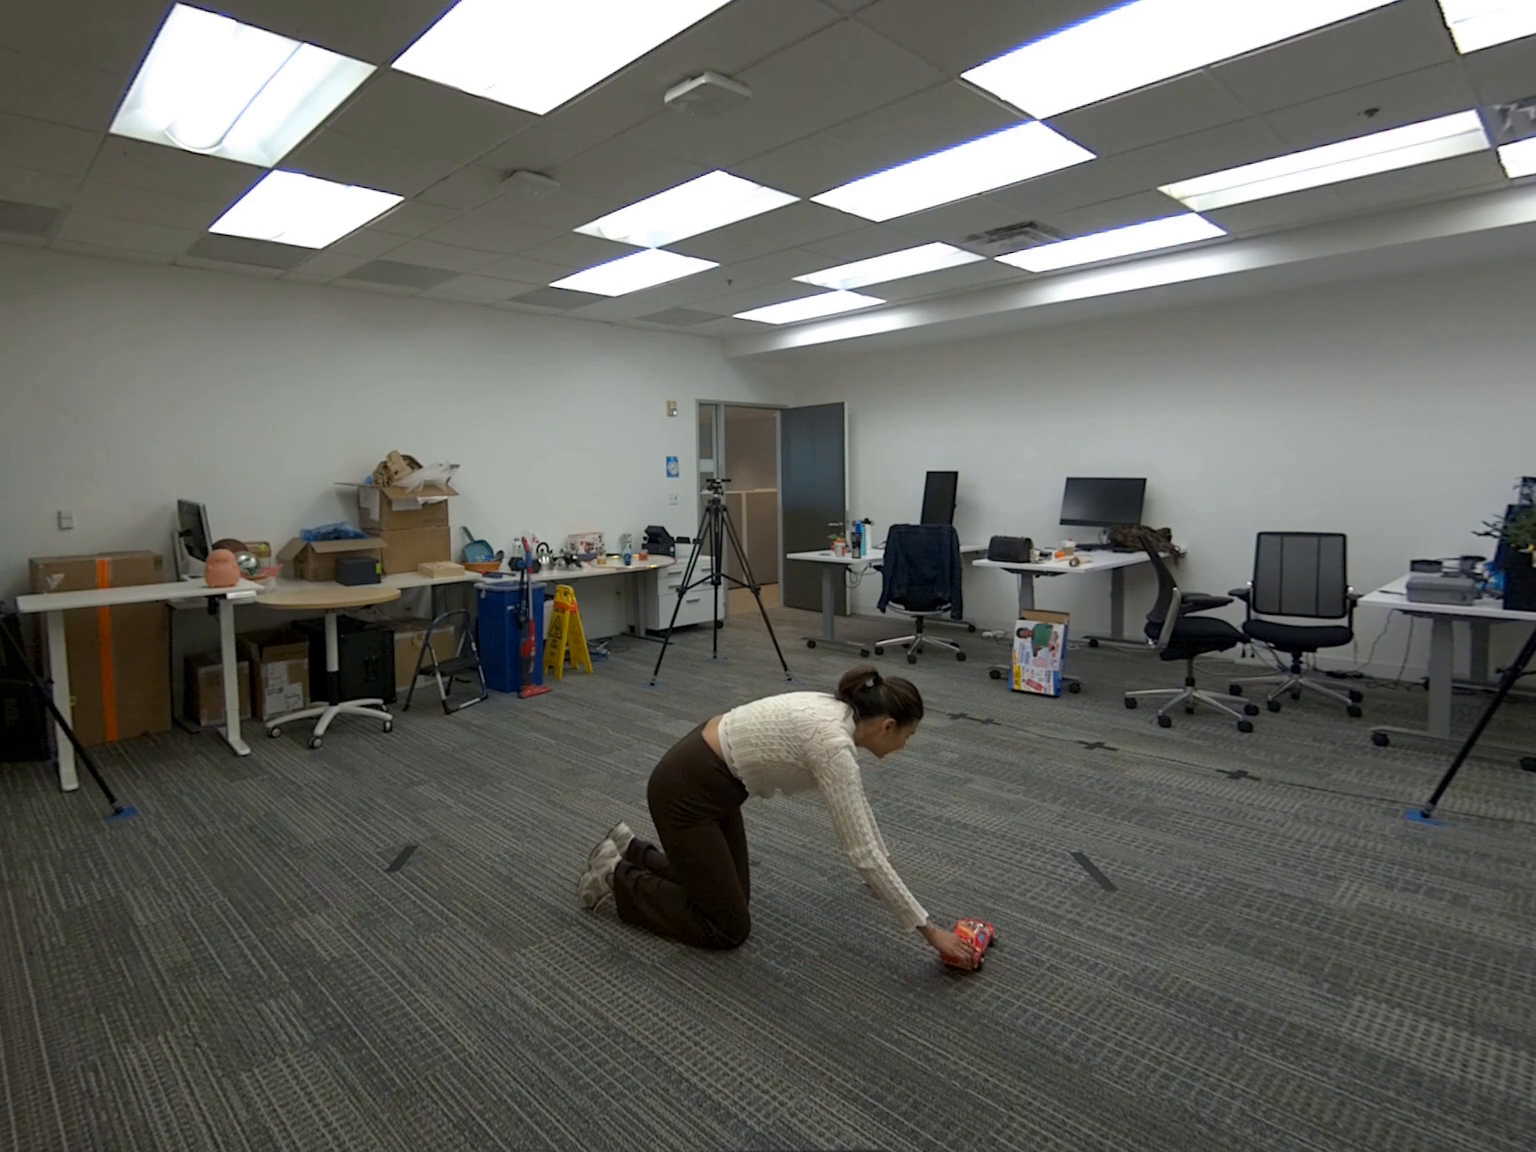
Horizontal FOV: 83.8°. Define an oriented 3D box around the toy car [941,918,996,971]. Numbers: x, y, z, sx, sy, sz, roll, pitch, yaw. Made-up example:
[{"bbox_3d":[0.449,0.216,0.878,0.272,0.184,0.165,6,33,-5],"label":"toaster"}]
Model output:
[{"bbox_3d":[0.577,1.069,2.483,0.134,0.083,0.247,3,-3,31],"label":"toy car"}]
